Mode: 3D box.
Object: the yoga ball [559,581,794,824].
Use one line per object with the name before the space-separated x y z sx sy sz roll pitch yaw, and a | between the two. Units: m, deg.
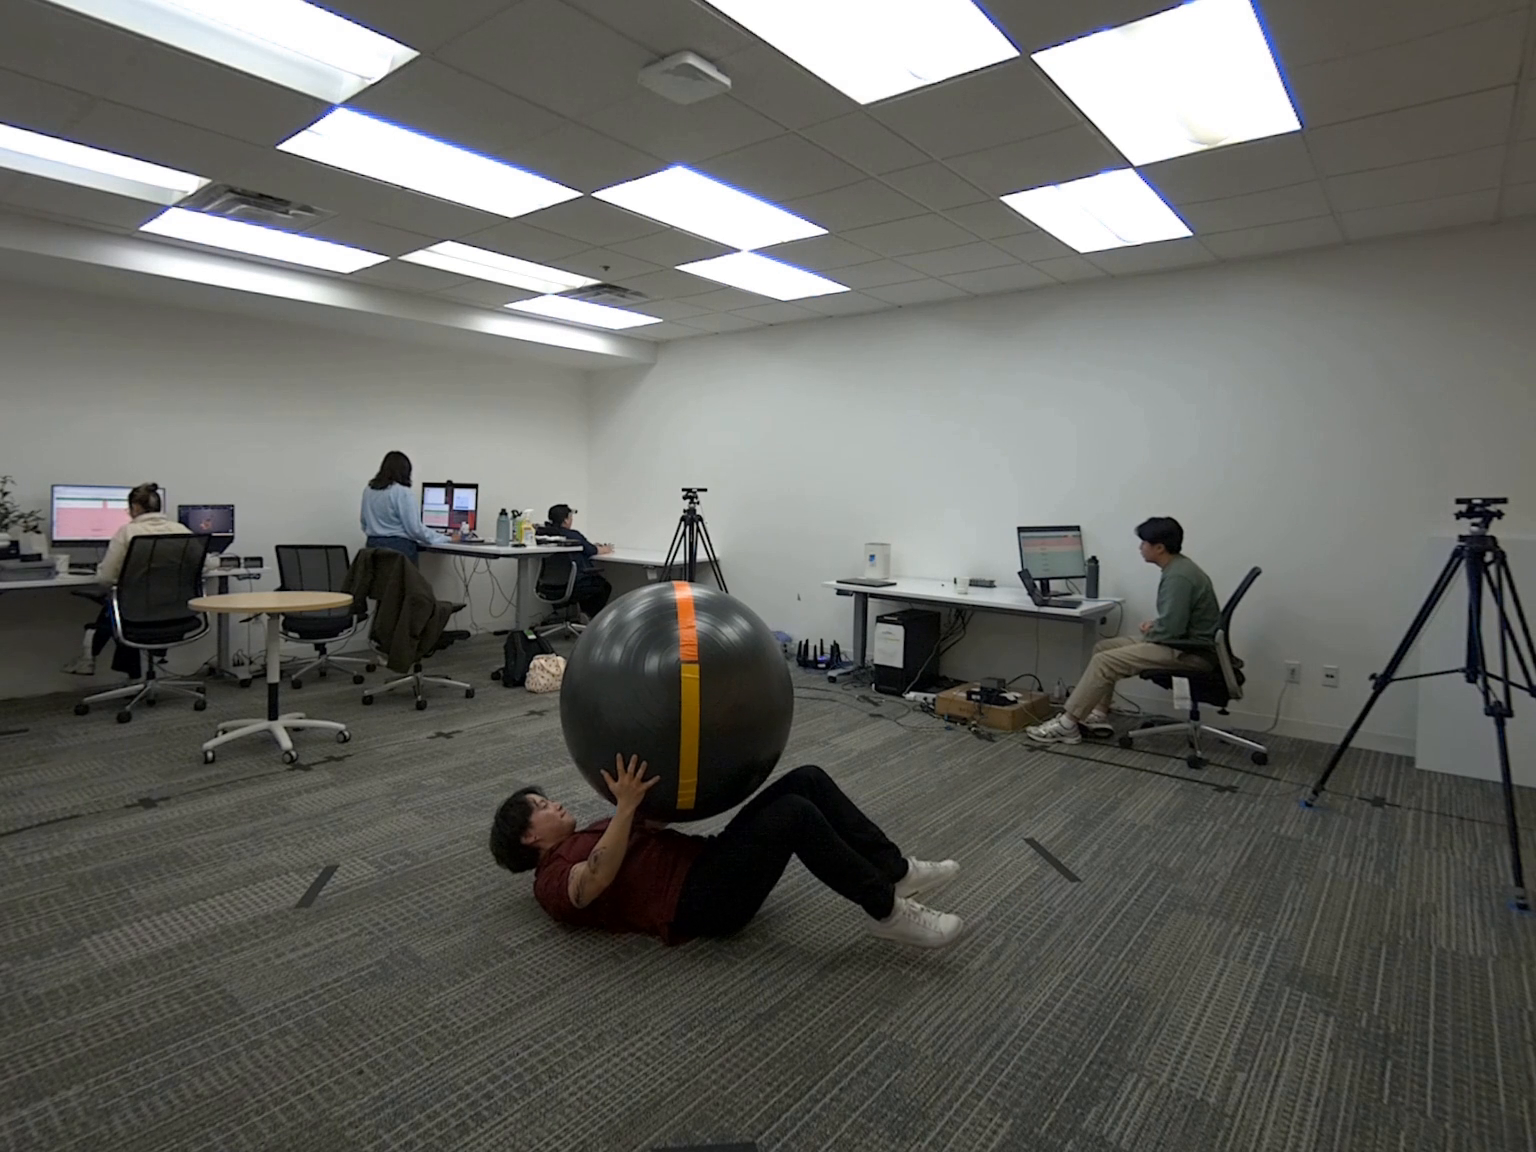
yoga ball | -0.299 0.399 2.764 0.757 0.755 0.762 1 4 -2
